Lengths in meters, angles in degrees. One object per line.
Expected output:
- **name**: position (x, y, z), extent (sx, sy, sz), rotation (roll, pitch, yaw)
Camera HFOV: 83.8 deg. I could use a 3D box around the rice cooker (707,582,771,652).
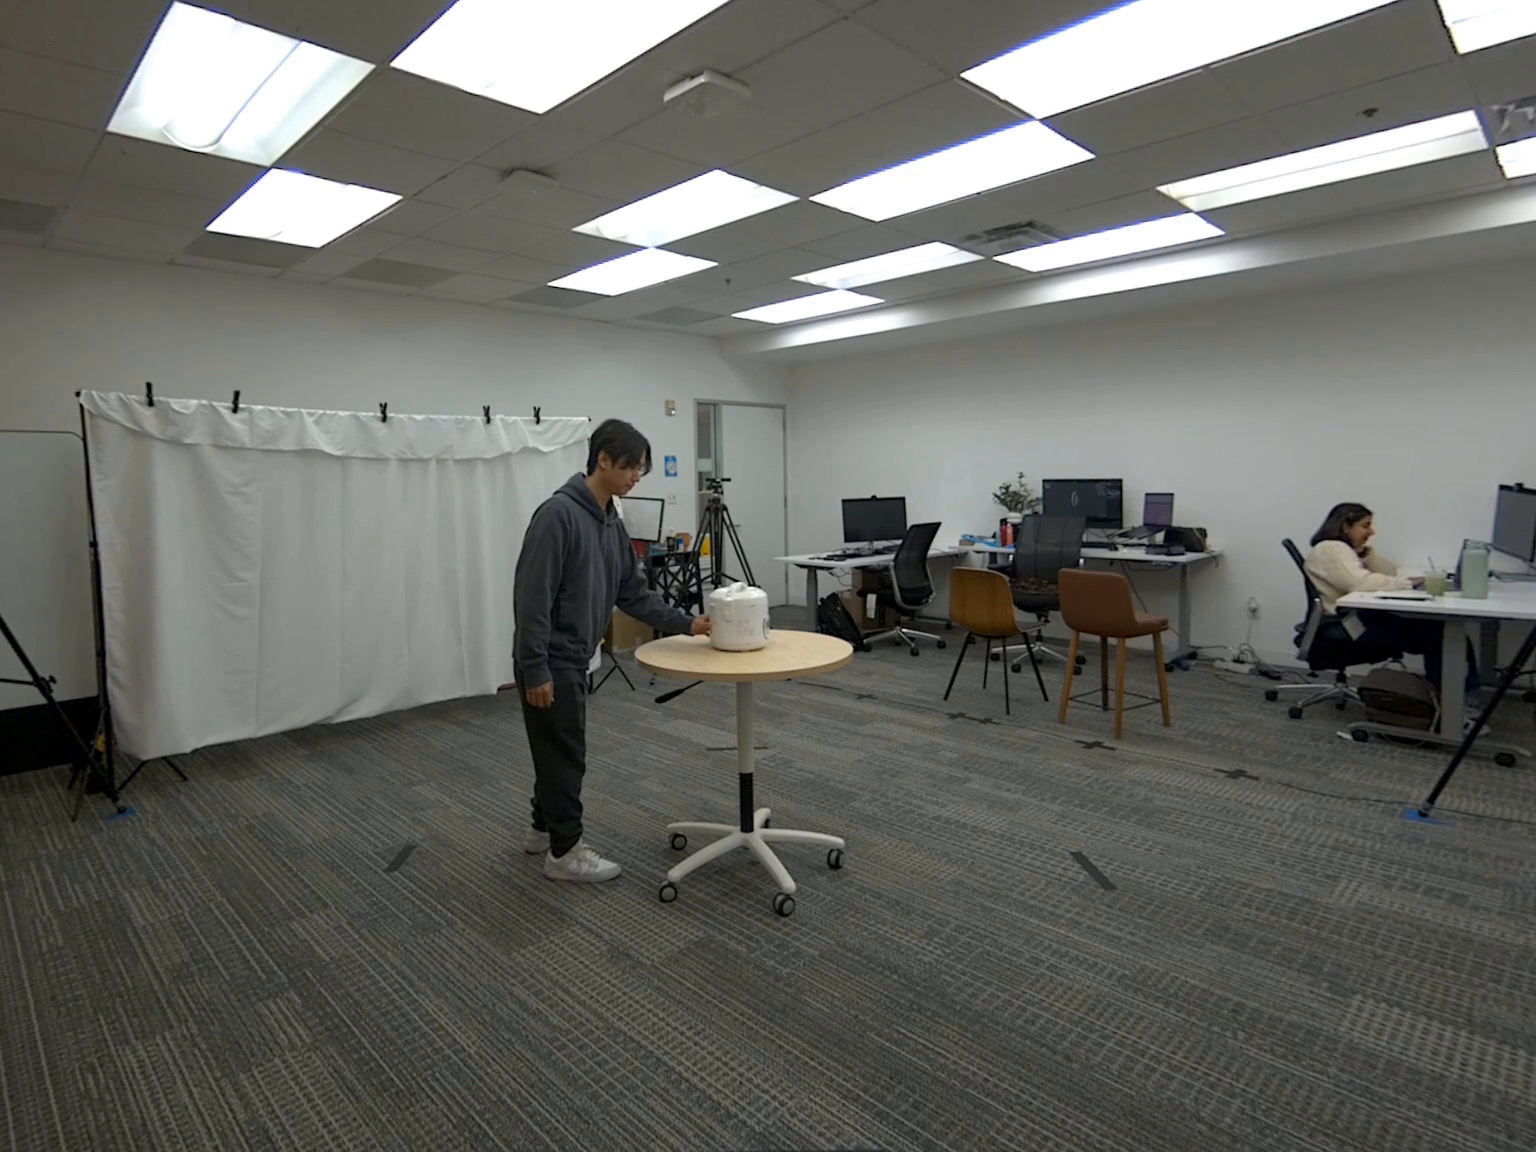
- **rice cooker**: position (-0.104, 0.138, 3.028), extent (0.222, 0.232, 0.217), rotation (-1, 5, 21)
